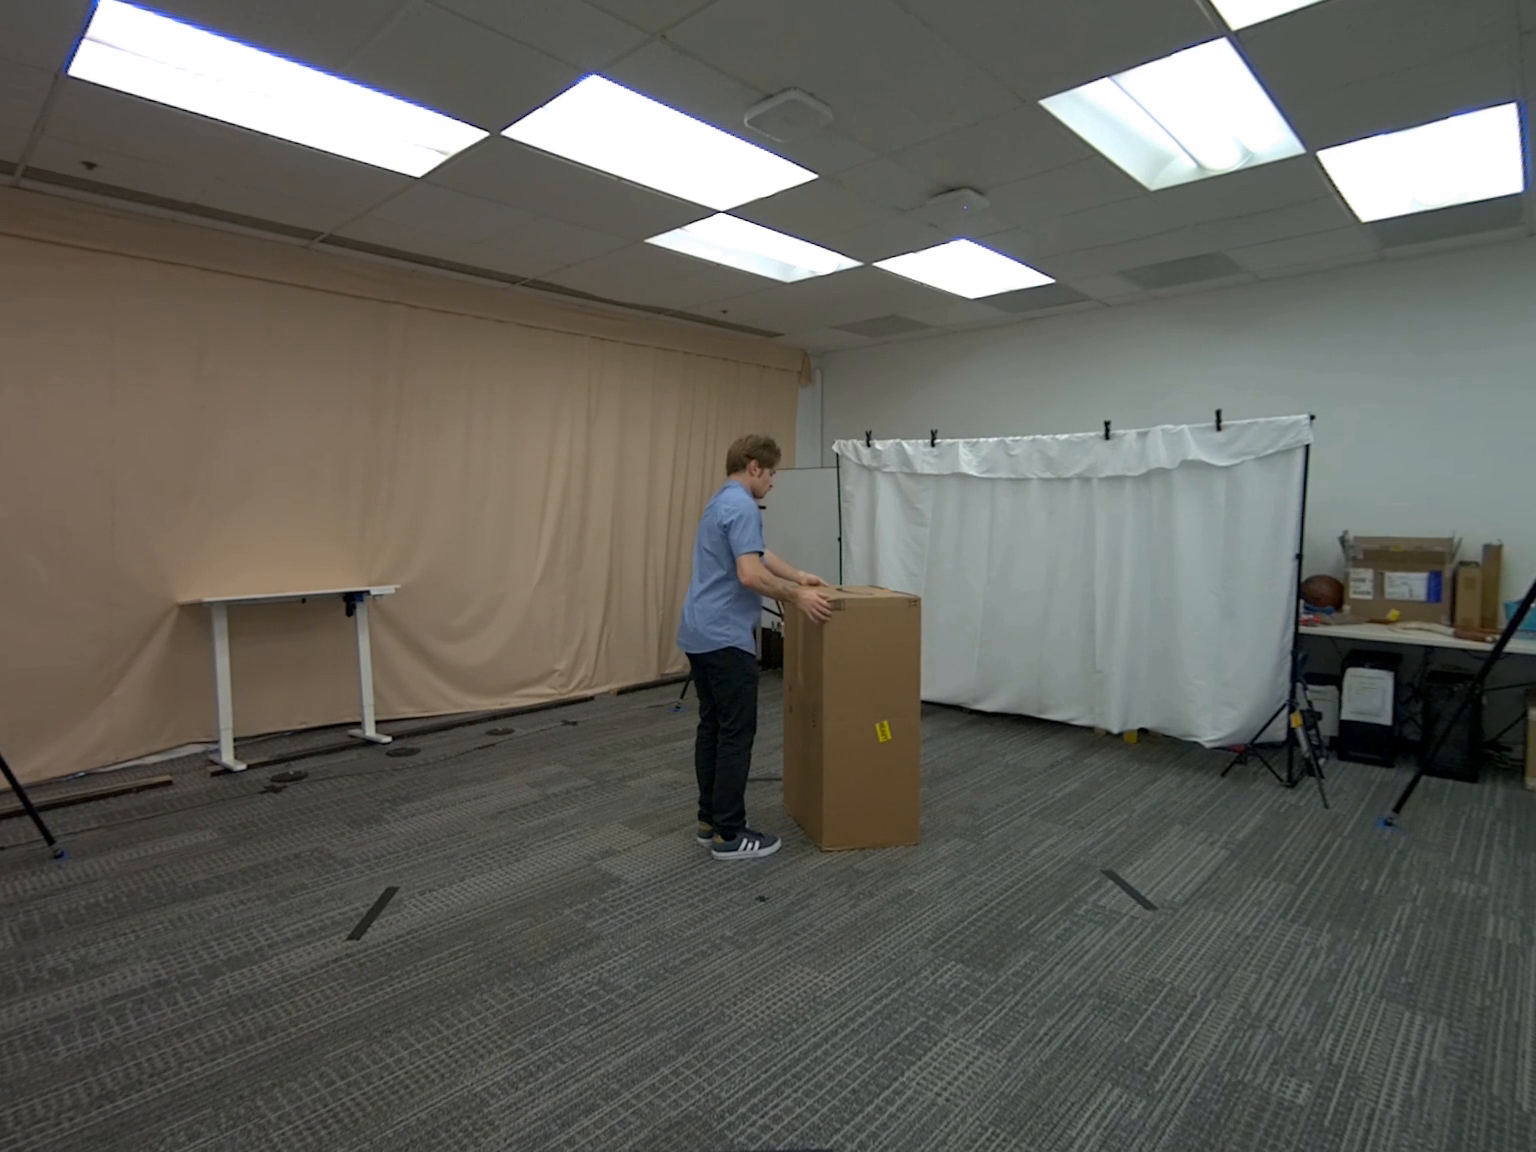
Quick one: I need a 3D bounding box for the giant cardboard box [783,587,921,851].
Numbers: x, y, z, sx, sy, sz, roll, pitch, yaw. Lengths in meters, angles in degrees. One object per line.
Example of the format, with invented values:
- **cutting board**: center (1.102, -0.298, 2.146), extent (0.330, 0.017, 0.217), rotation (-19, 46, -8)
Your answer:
- **giant cardboard box**: center (0.353, 0.577, 3.685), extent (0.420, 1.024, 0.587), rotation (0, 3, -14)
